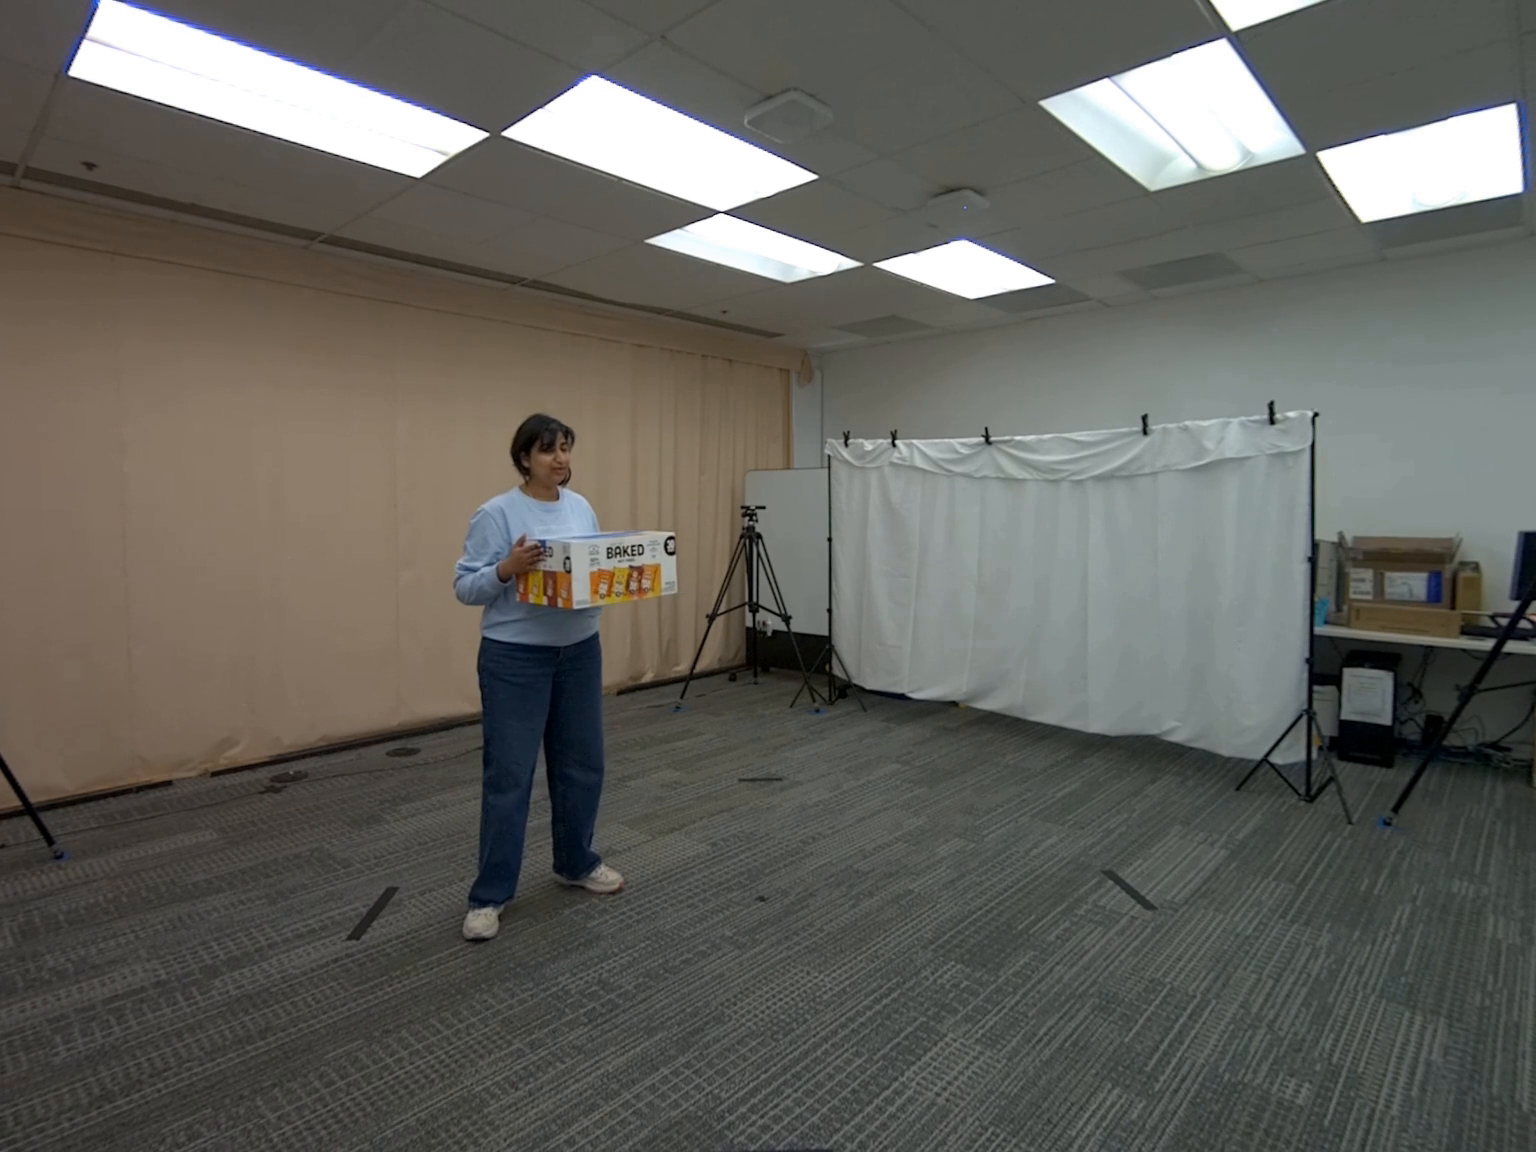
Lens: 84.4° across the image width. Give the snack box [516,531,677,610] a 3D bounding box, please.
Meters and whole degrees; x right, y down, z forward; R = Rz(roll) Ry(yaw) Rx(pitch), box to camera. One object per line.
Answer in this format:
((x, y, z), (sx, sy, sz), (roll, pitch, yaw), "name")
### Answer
((-0.561, -0.028, 2.735), (0.352, 0.205, 0.393), (4, 8, 45), "snack box")
